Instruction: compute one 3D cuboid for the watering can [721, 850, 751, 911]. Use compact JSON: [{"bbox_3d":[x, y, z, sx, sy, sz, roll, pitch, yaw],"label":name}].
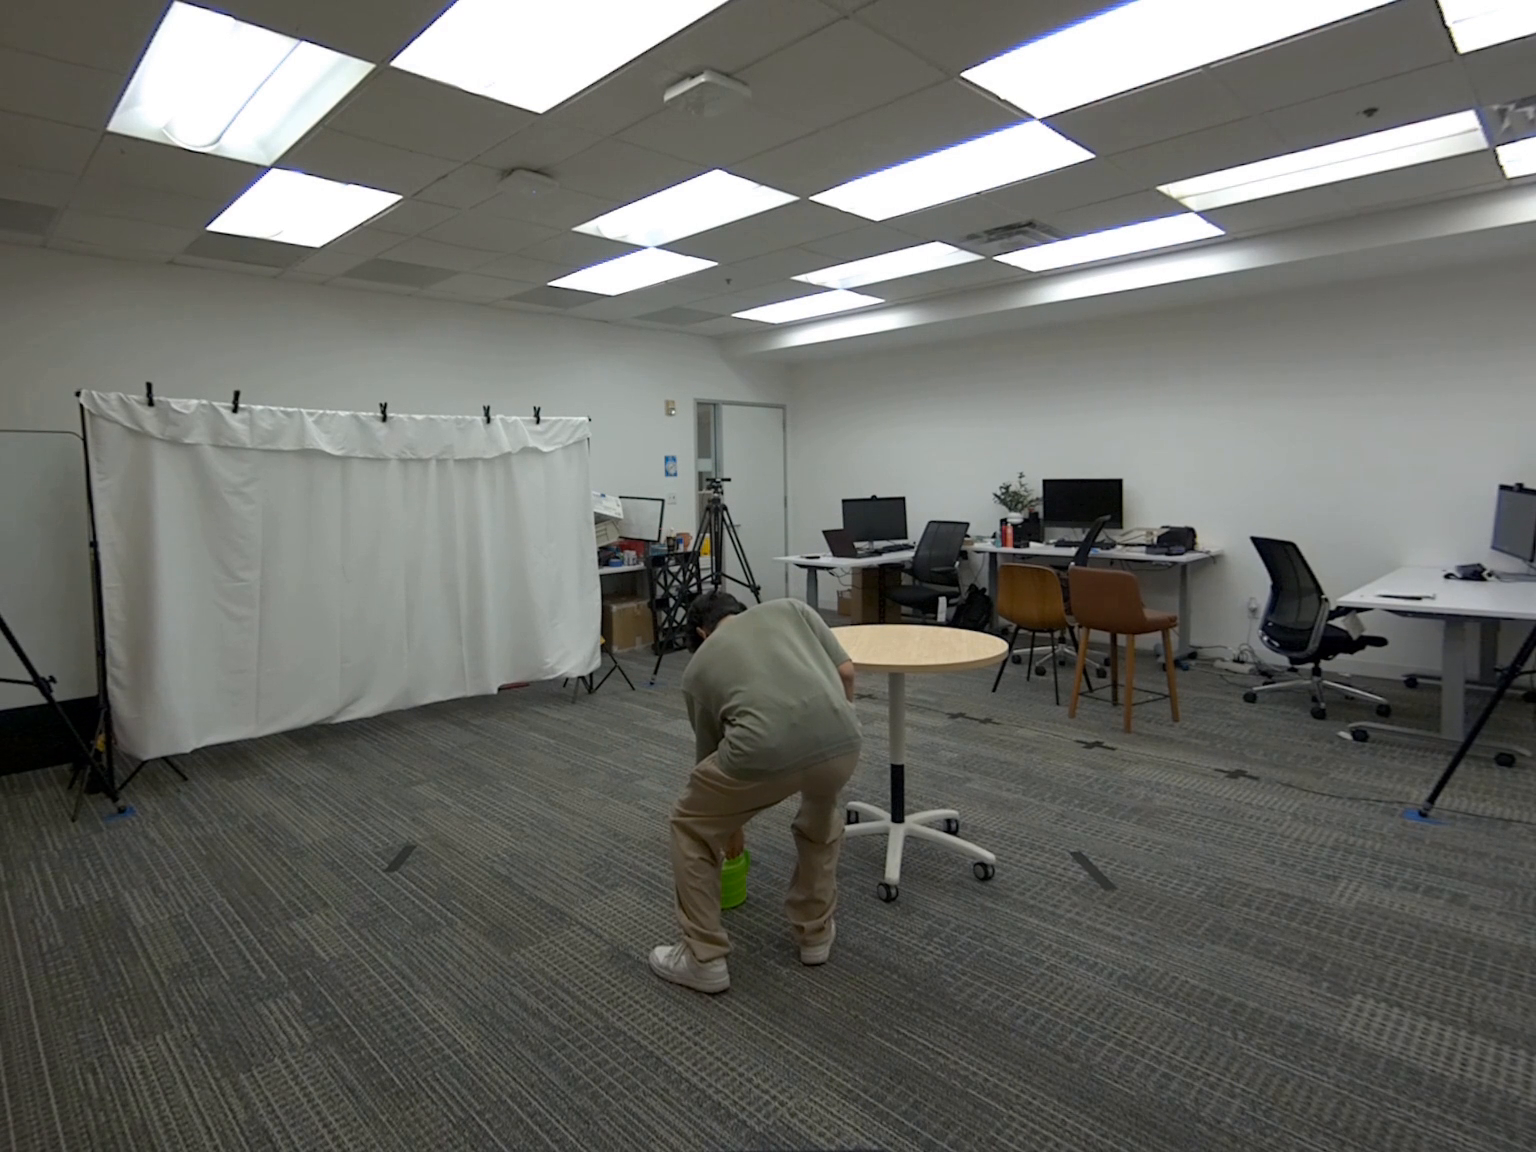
[{"bbox_3d":[-0.155,0.987,2.795,0.271,0.176,0.101,-3,4,-37],"label":"watering can"}]
